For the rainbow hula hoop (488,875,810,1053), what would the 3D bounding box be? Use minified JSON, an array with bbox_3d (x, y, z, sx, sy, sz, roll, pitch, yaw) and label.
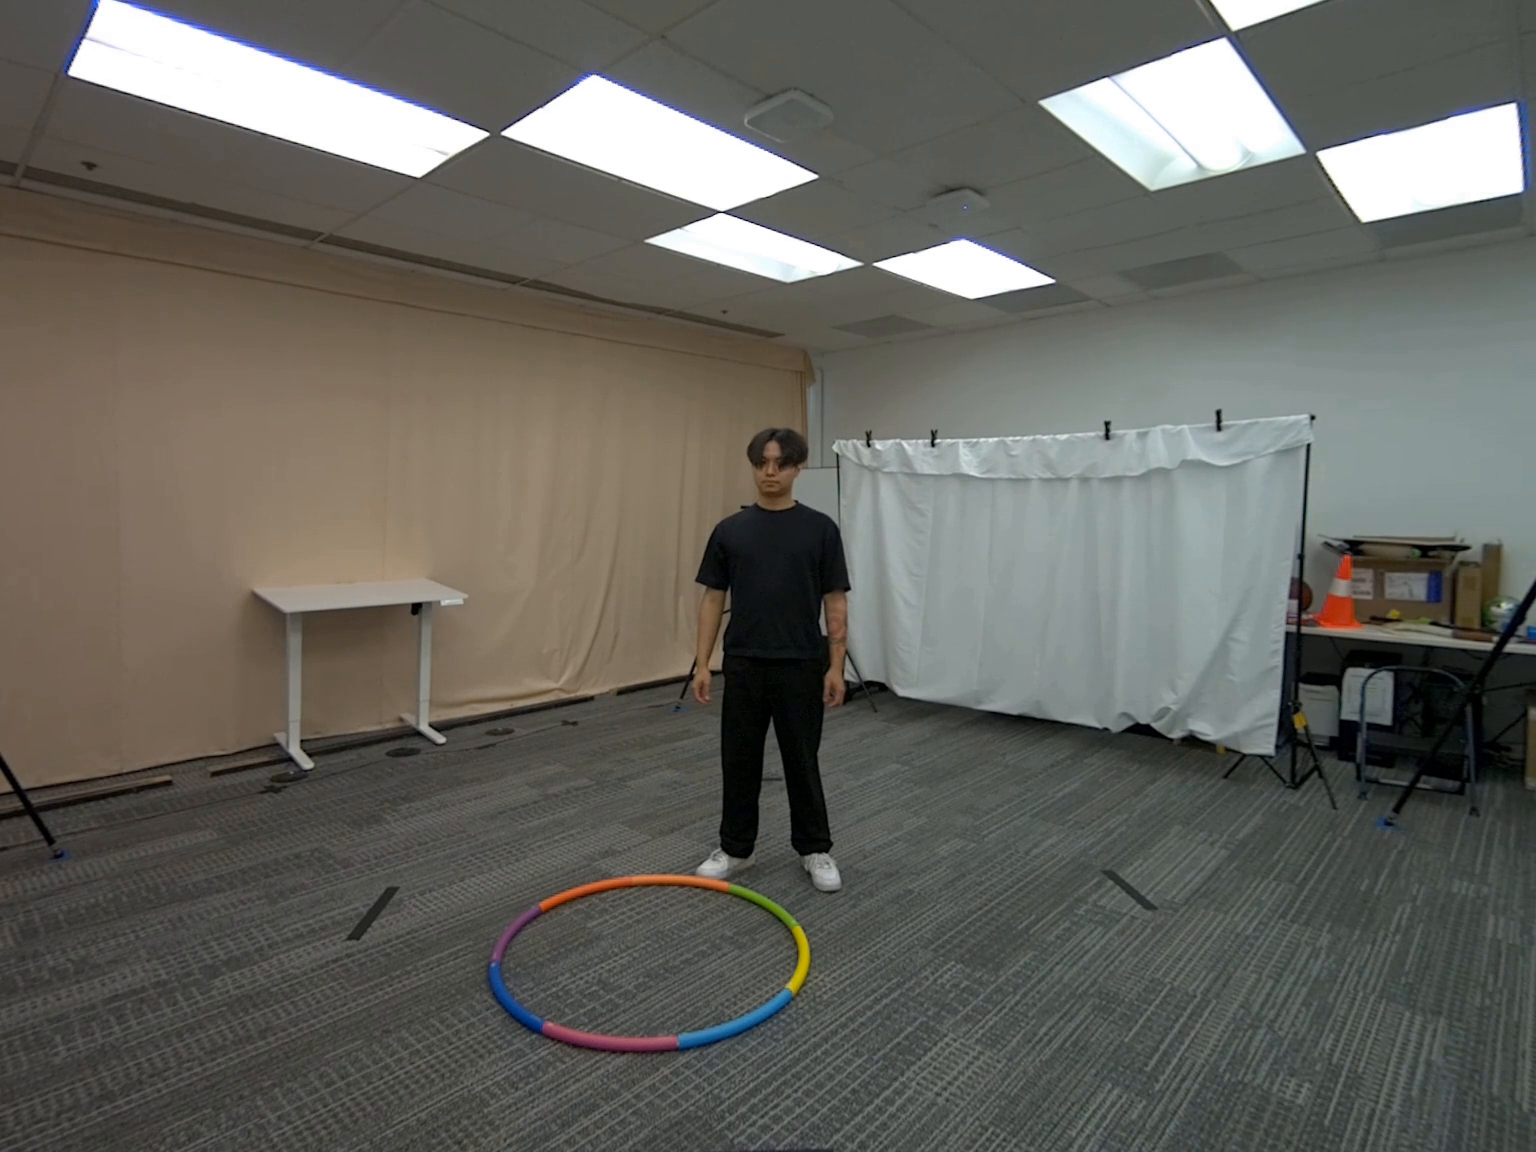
[{"bbox_3d":[-0.360,1.150,2.629,0.978,0.035,0.982,0,5,-2],"label":"rainbow hula hoop"}]
